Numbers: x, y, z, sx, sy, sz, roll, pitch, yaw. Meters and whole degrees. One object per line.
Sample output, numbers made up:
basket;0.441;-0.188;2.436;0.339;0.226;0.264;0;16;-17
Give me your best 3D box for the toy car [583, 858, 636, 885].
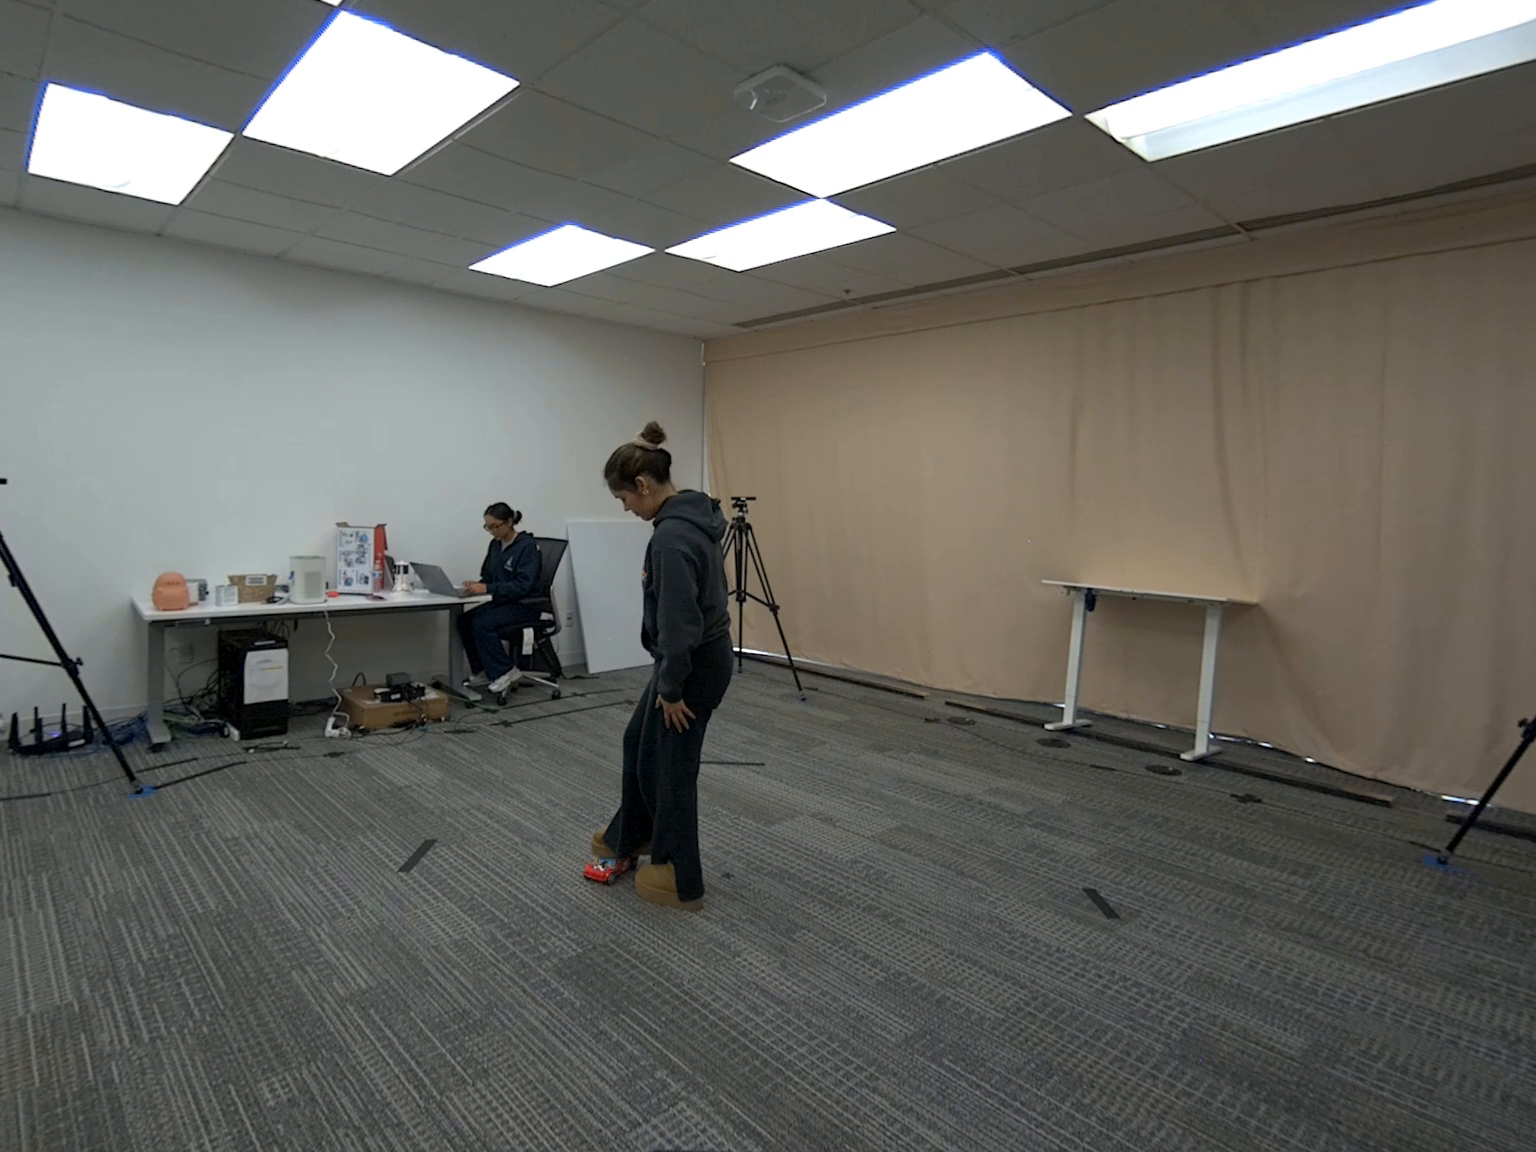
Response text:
toy car;-0.580;1.065;3.129;0.133;0.082;0.252;4;16;24
